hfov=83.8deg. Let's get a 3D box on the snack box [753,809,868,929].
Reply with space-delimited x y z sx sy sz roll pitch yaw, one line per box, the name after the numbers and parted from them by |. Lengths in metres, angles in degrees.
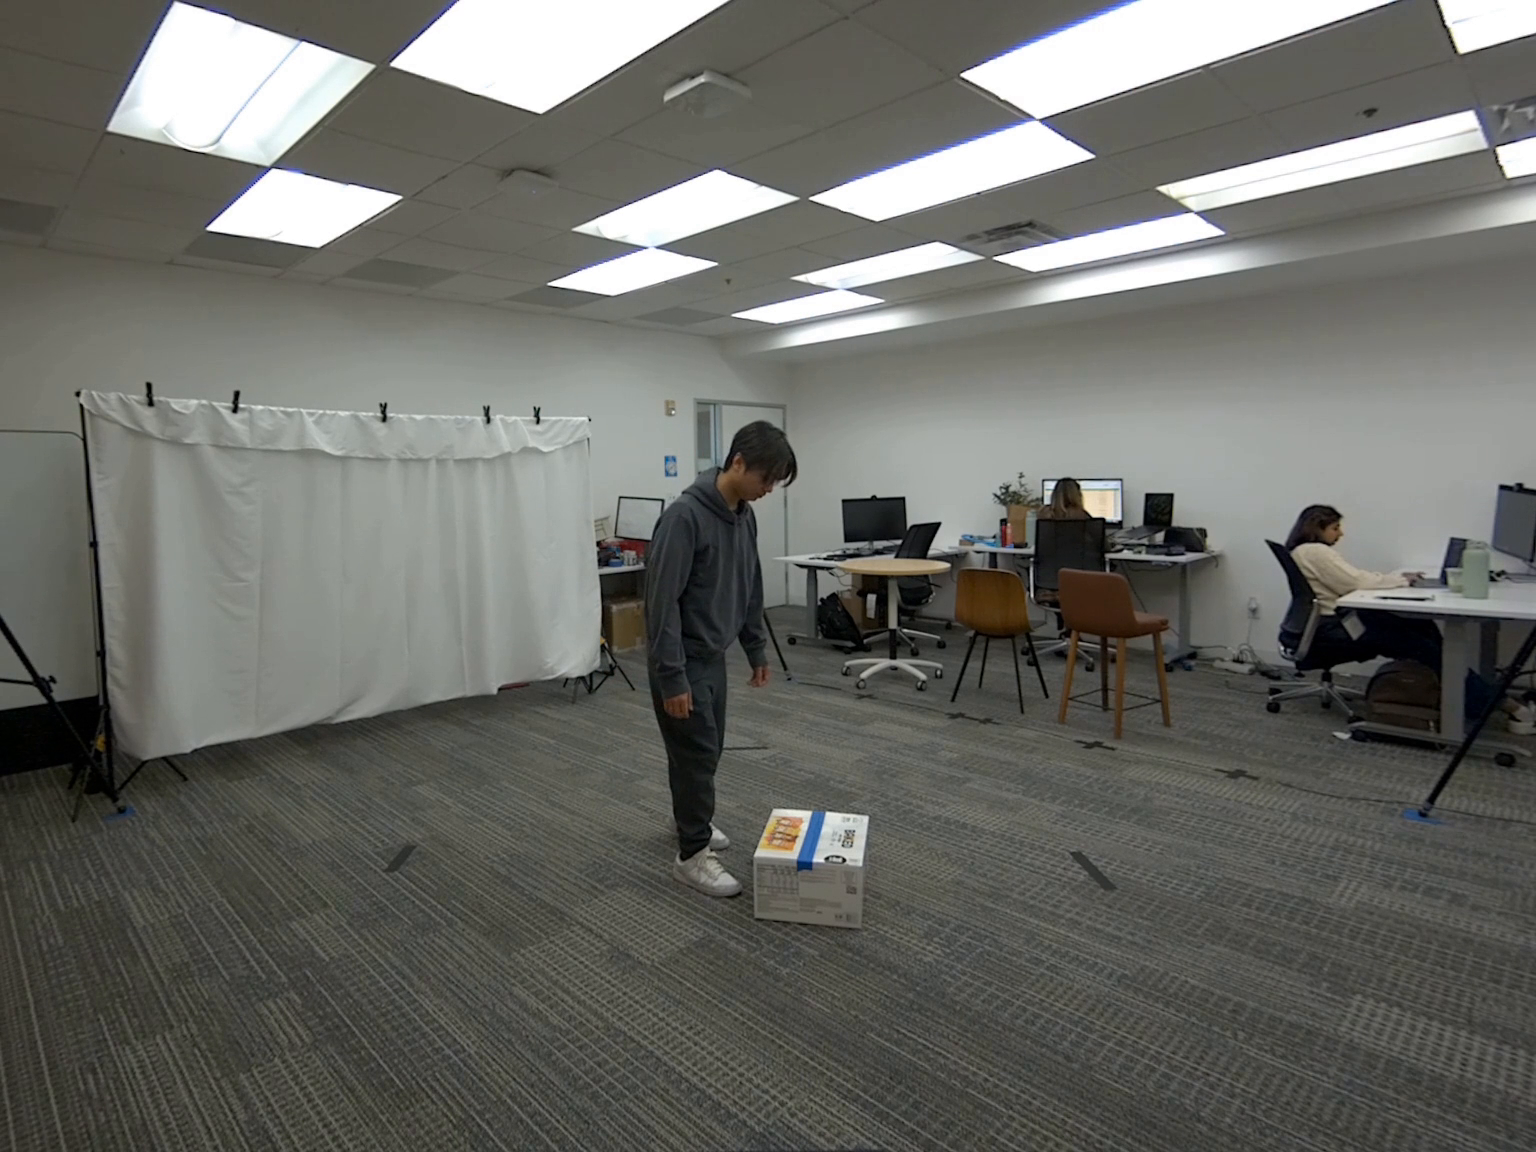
0.161 0.967 2.855 0.344 0.205 0.402 0 6 11 | snack box
